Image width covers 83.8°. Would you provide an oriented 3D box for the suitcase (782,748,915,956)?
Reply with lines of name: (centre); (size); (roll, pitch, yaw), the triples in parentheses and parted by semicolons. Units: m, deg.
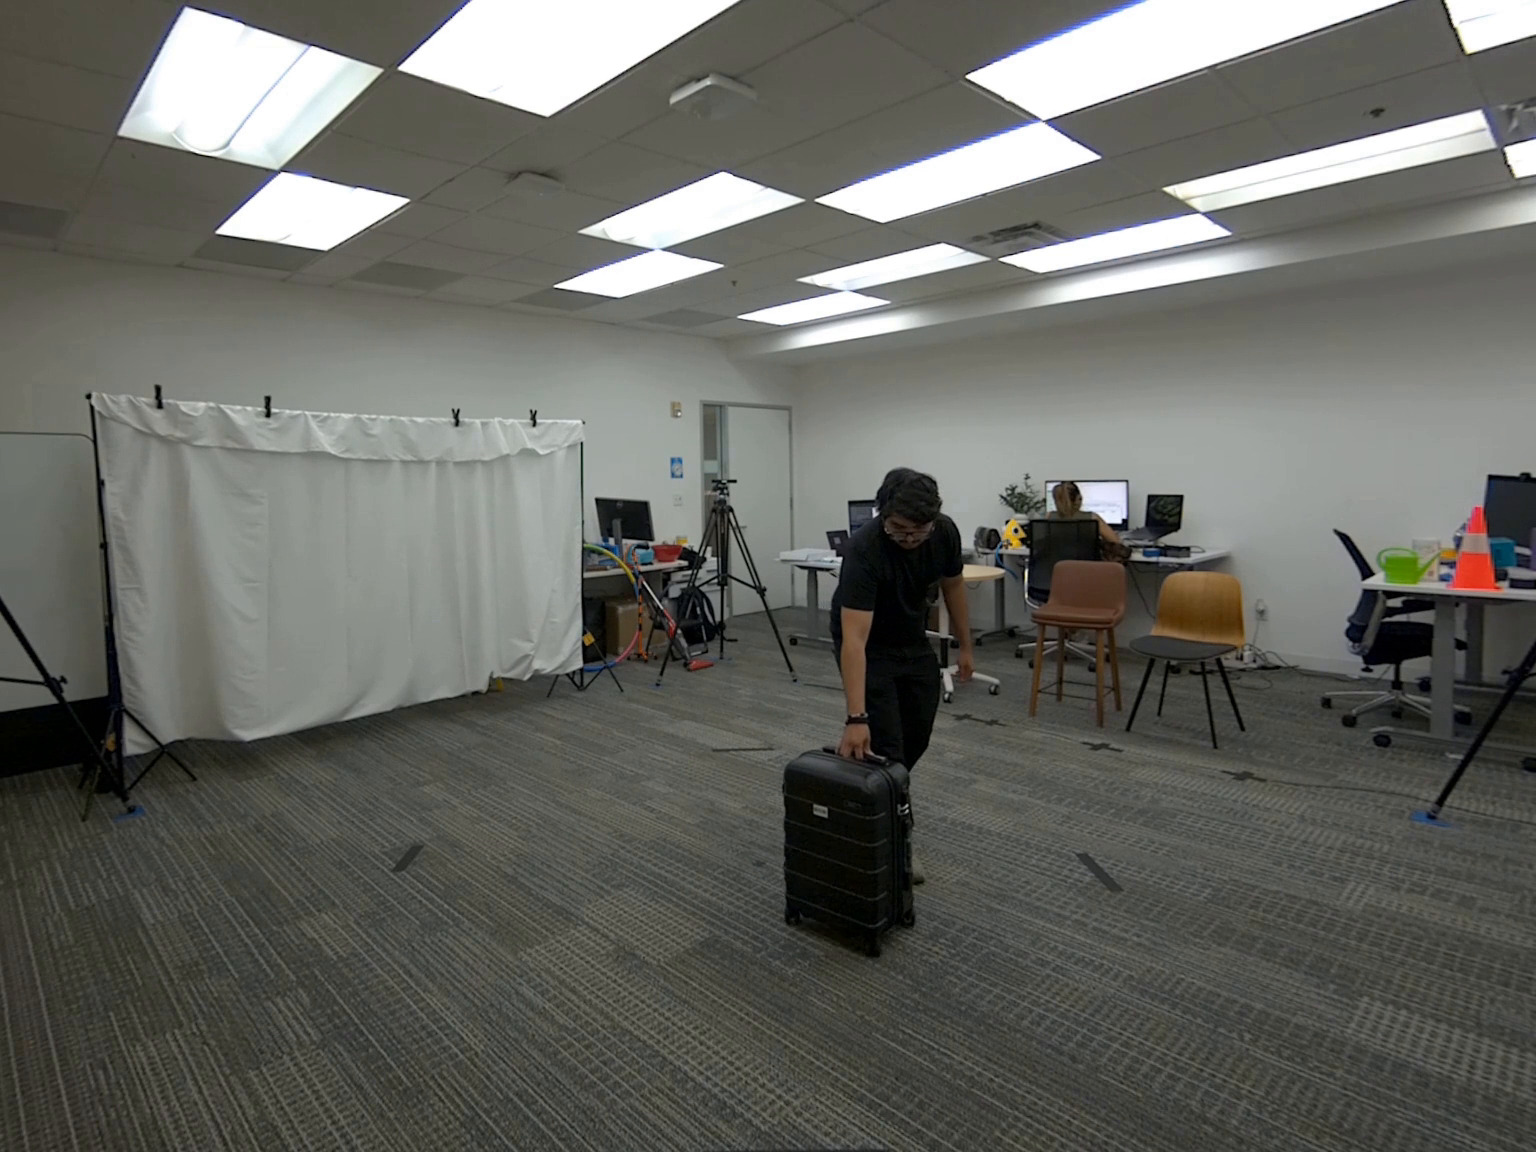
suitcase: (0.247, 0.823, 2.646); (0.386, 0.546, 0.242); (2, 7, 39)
